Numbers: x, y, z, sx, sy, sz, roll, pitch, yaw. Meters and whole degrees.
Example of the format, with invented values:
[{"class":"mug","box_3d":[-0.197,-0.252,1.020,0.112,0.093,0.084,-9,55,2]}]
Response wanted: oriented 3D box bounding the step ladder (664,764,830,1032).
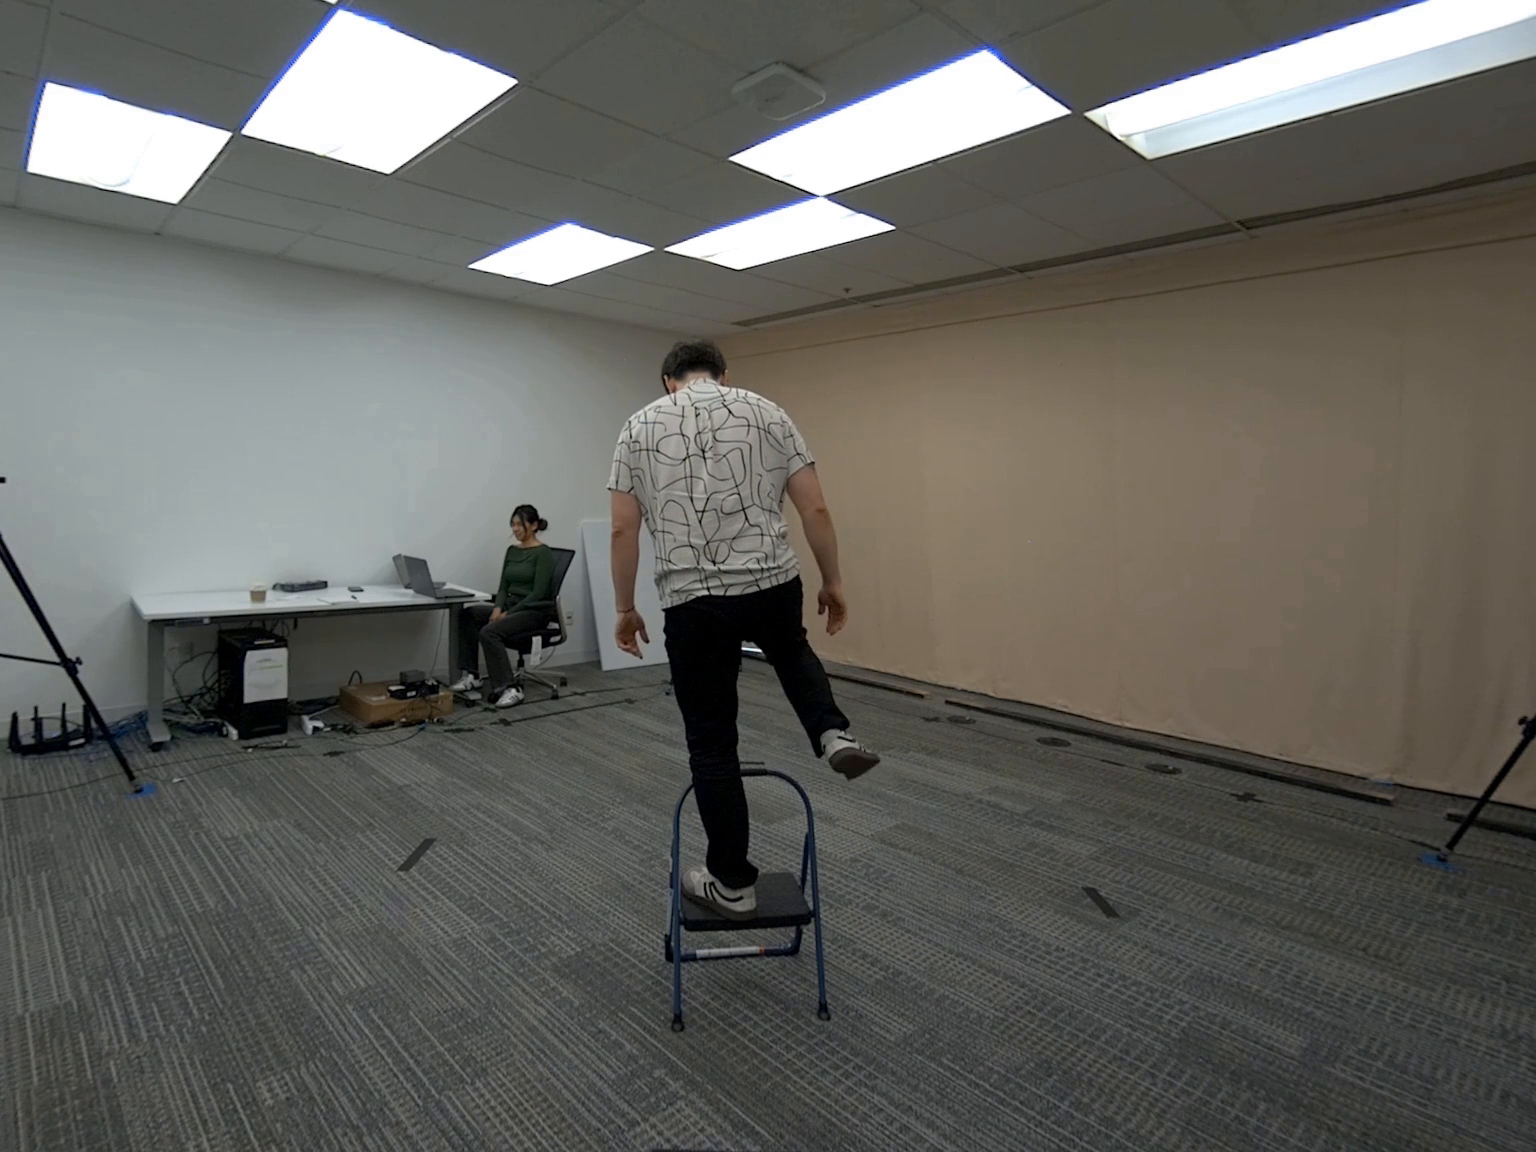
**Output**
[{"class":"step ladder","box_3d":[-0.068,0.873,2.373,0.427,0.604,0.353,1,4,-11]}]
